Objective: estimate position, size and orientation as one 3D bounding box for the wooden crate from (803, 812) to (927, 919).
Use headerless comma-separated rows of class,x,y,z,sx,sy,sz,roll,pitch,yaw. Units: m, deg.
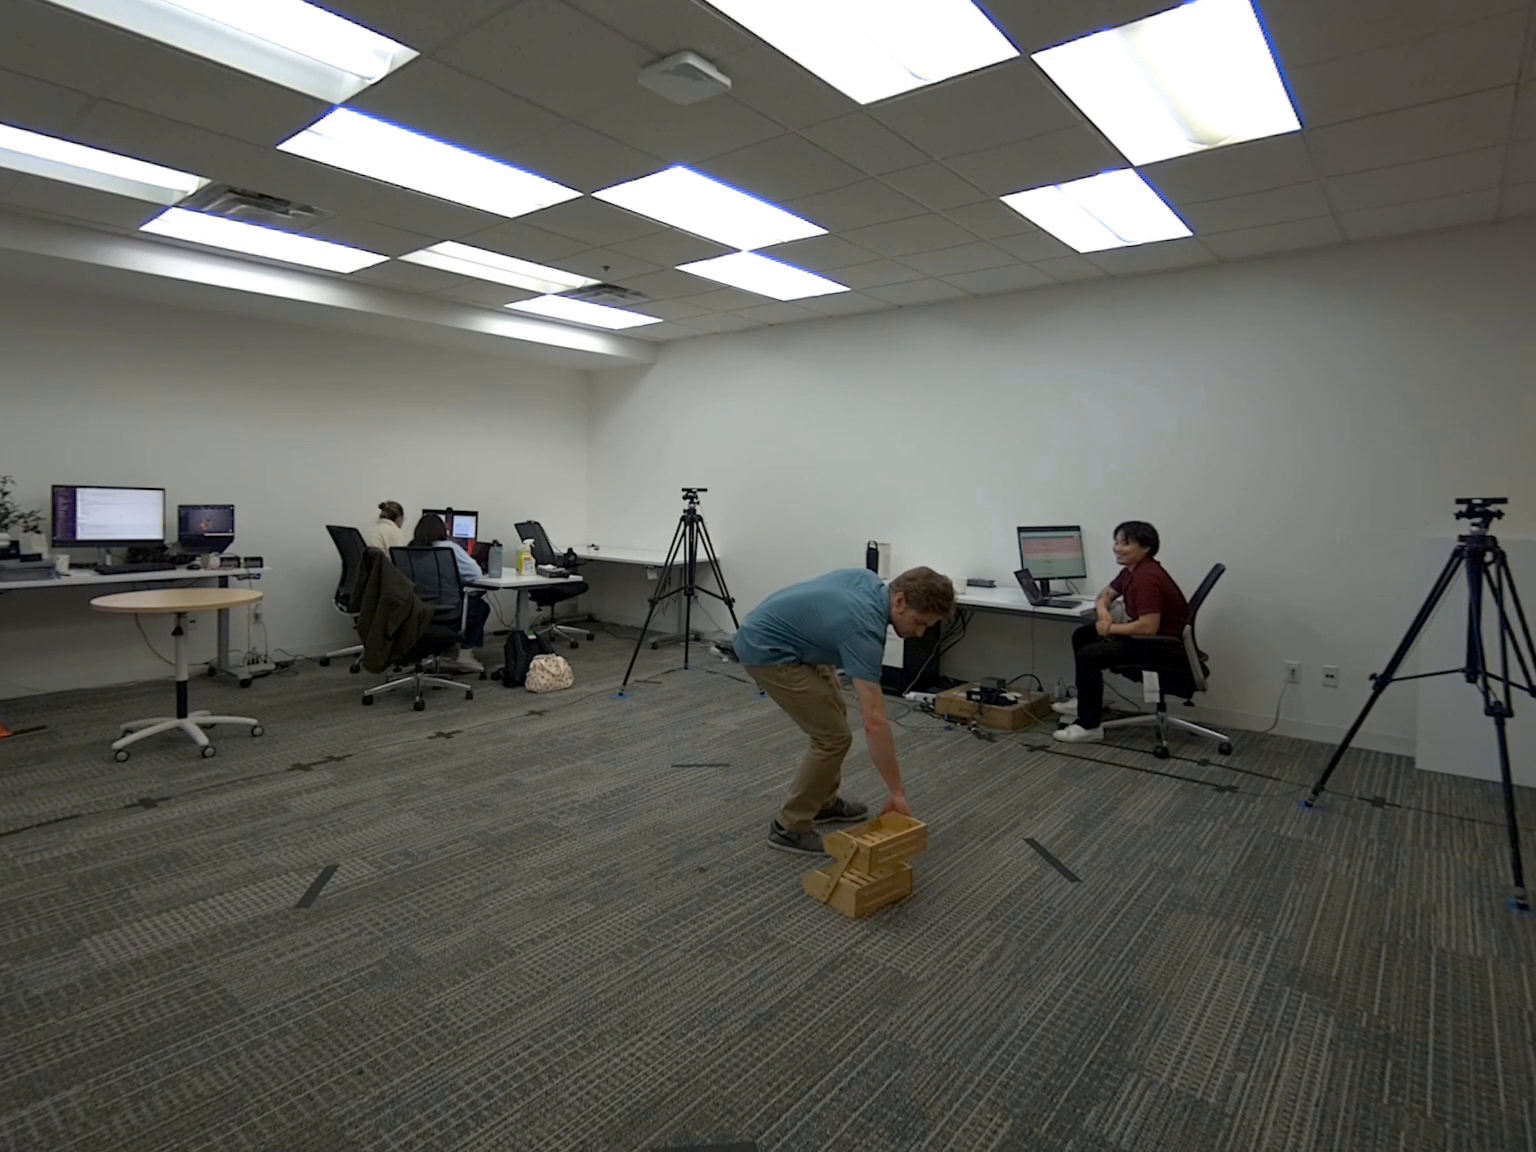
wooden crate,0.328,0.962,2.942,0.314,0.272,0.312,-3,7,-42
